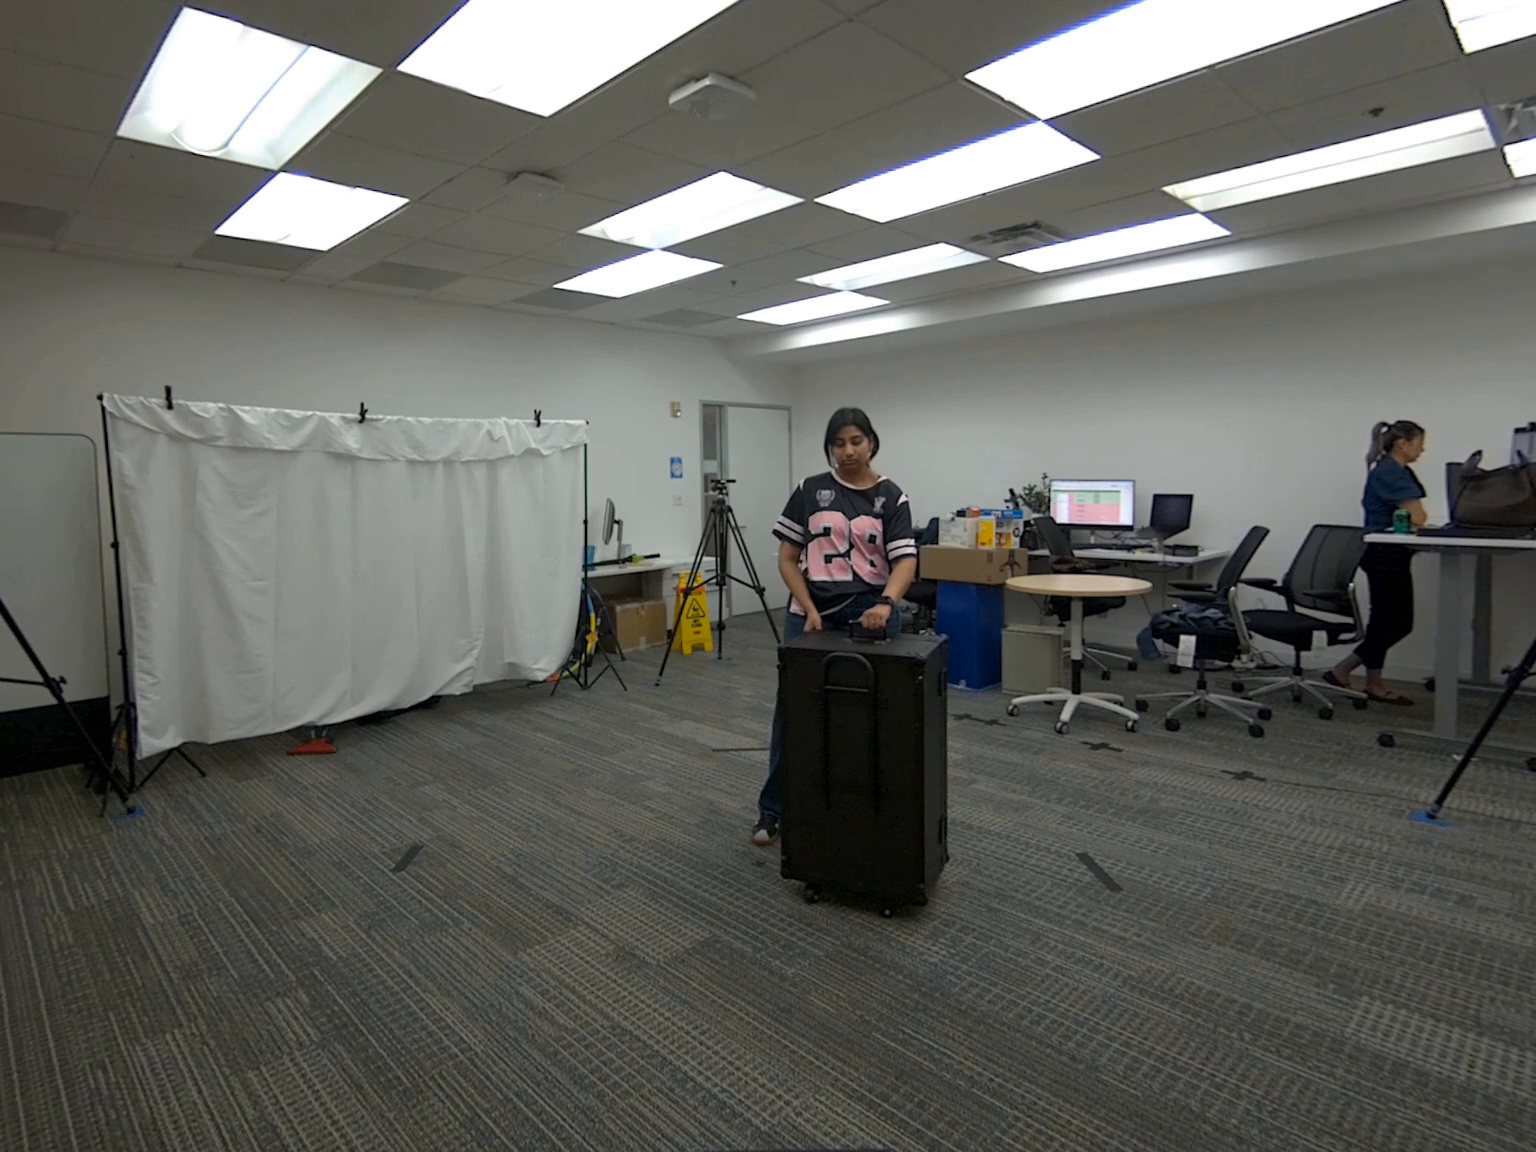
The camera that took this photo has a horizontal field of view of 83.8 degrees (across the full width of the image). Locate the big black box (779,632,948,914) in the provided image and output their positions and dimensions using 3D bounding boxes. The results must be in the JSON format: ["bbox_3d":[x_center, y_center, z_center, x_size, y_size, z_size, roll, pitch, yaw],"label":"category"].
[{"bbox_3d":[0.334,0.645,2.862,0.535,0.865,0.378,0,4,24],"label":"big black box"}]
